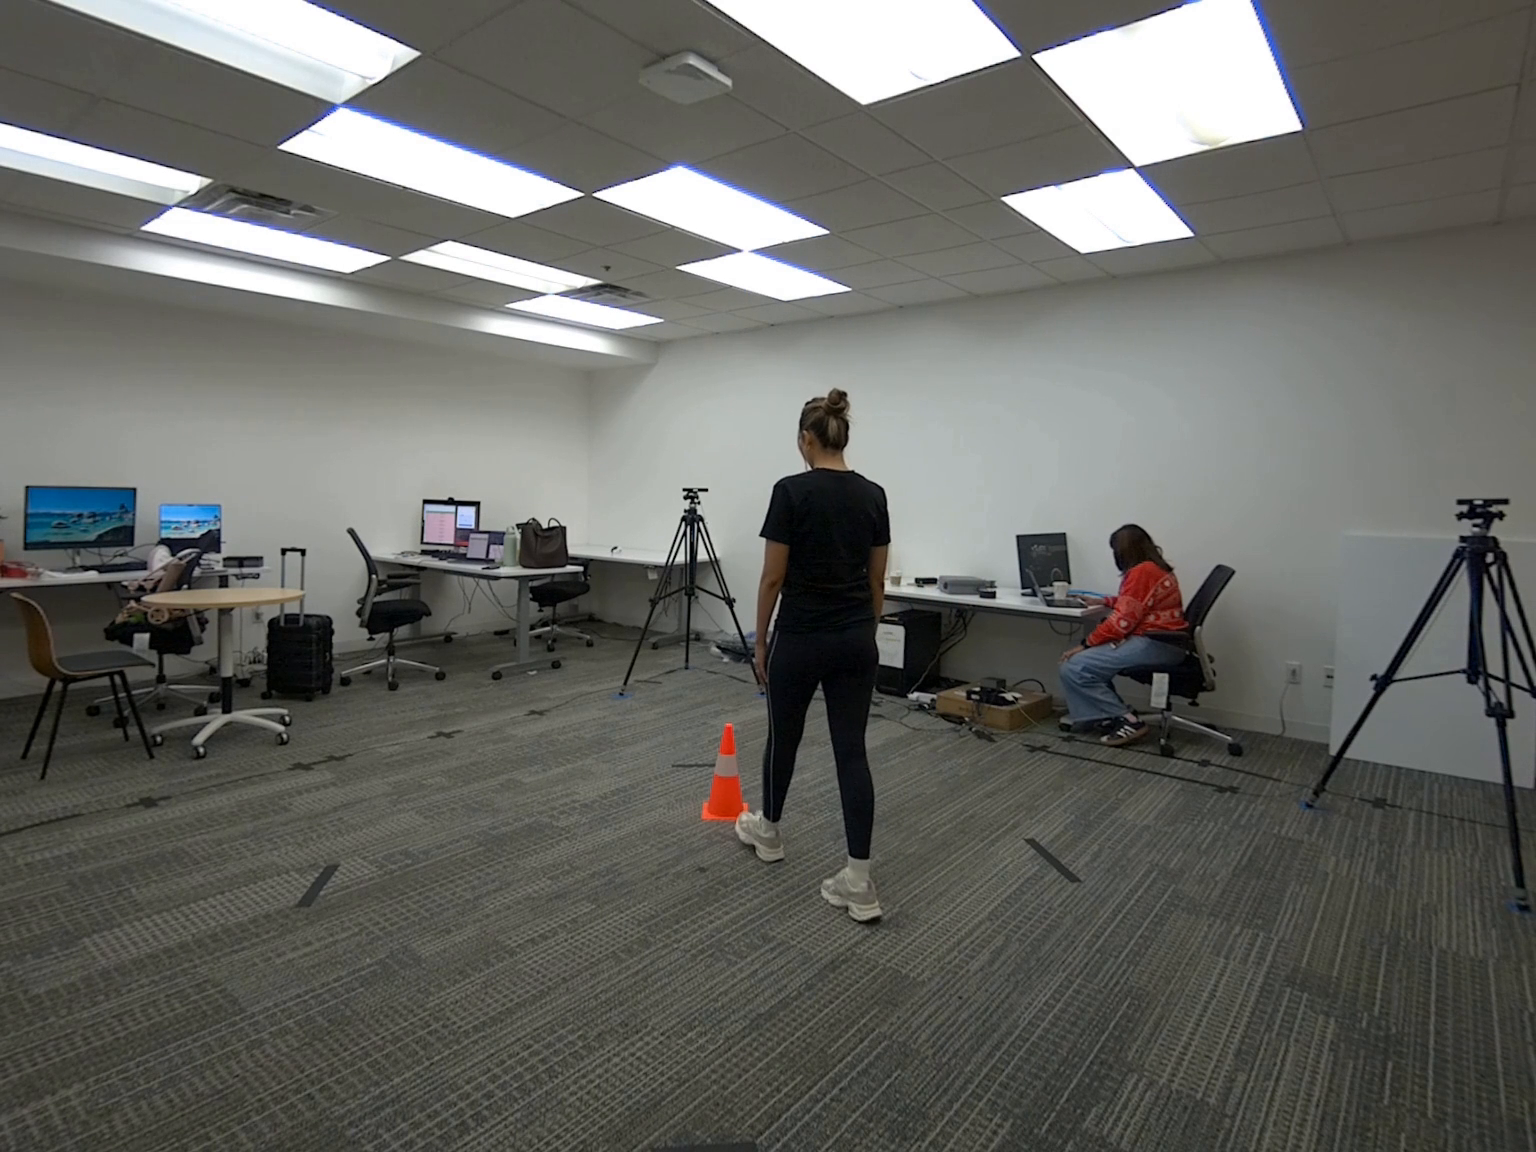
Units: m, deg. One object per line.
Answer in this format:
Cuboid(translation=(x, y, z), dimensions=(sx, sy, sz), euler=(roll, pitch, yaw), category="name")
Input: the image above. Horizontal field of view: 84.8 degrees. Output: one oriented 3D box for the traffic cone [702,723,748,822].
Cuboid(translation=(-0.185, 0.829, 3.673), dimensions=(0.205, 0.382, 0.204), euler=(2, 5, 0), category="traffic cone")
